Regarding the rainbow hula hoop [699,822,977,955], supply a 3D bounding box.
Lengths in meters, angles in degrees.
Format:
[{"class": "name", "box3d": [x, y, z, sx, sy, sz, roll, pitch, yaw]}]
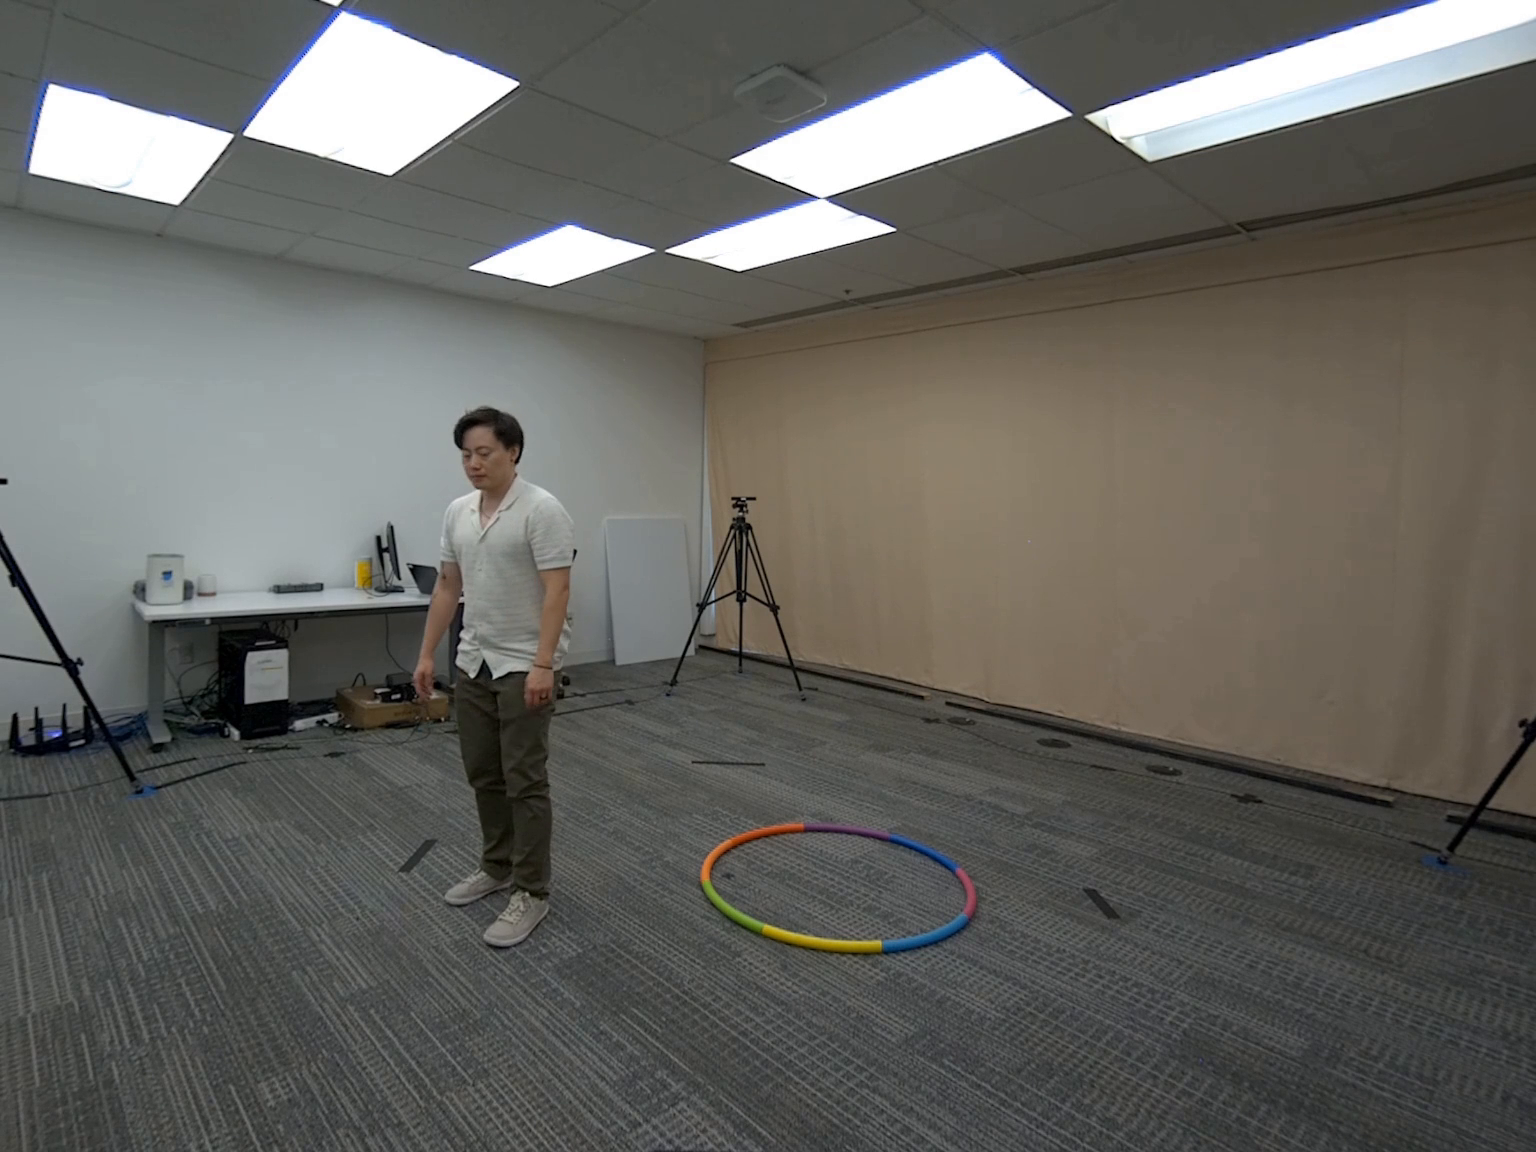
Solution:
[{"class": "rainbow hula hoop", "box3d": [0.241, 1.090, 3.070, 0.978, 0.035, 0.982, 1, 5, -1]}]
